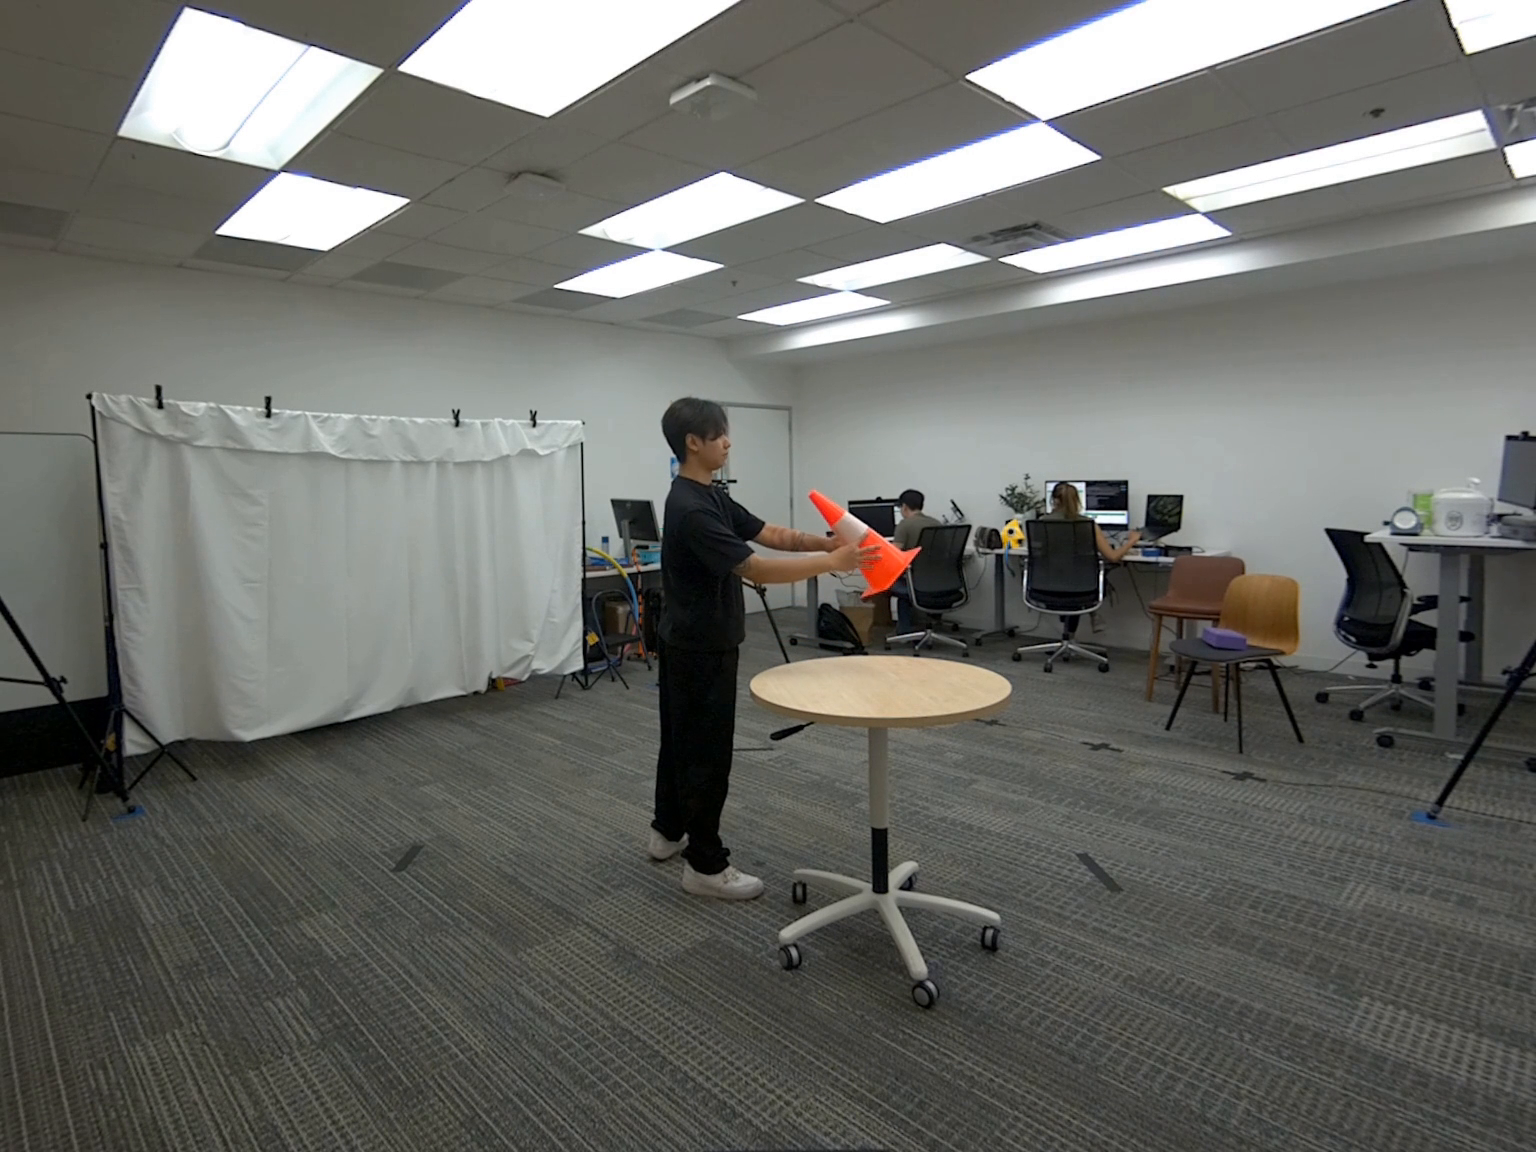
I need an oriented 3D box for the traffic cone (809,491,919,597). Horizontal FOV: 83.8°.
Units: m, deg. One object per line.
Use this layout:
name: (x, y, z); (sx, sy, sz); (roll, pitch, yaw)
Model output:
traffic cone: (0.271, -0.141, 2.836); (0.205, 0.382, 0.204); (-48, 4, -22)
